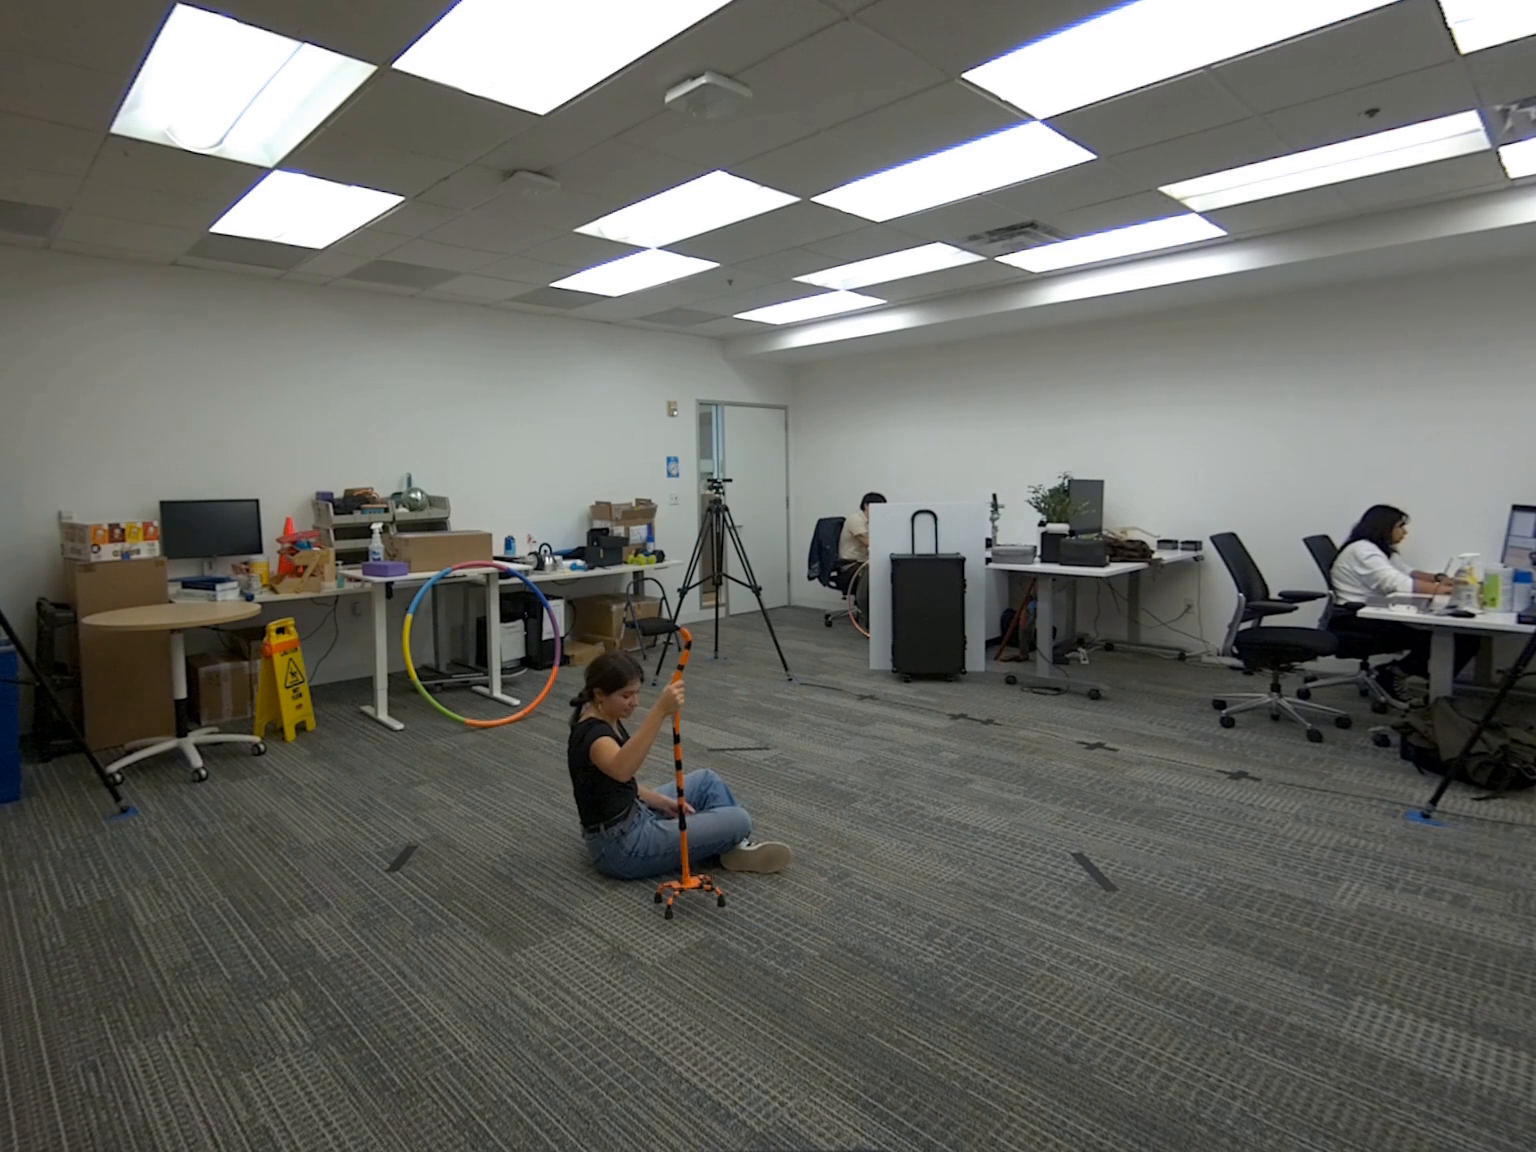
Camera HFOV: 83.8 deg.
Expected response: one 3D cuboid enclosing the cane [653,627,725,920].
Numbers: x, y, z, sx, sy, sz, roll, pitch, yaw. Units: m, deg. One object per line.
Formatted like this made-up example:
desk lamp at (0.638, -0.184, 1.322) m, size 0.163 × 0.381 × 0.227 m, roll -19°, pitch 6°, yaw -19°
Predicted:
cane at (-0.274, 0.608, 2.748) m, size 0.203 × 0.906 × 0.154 m, roll -4°, pitch 2°, yaw -20°
